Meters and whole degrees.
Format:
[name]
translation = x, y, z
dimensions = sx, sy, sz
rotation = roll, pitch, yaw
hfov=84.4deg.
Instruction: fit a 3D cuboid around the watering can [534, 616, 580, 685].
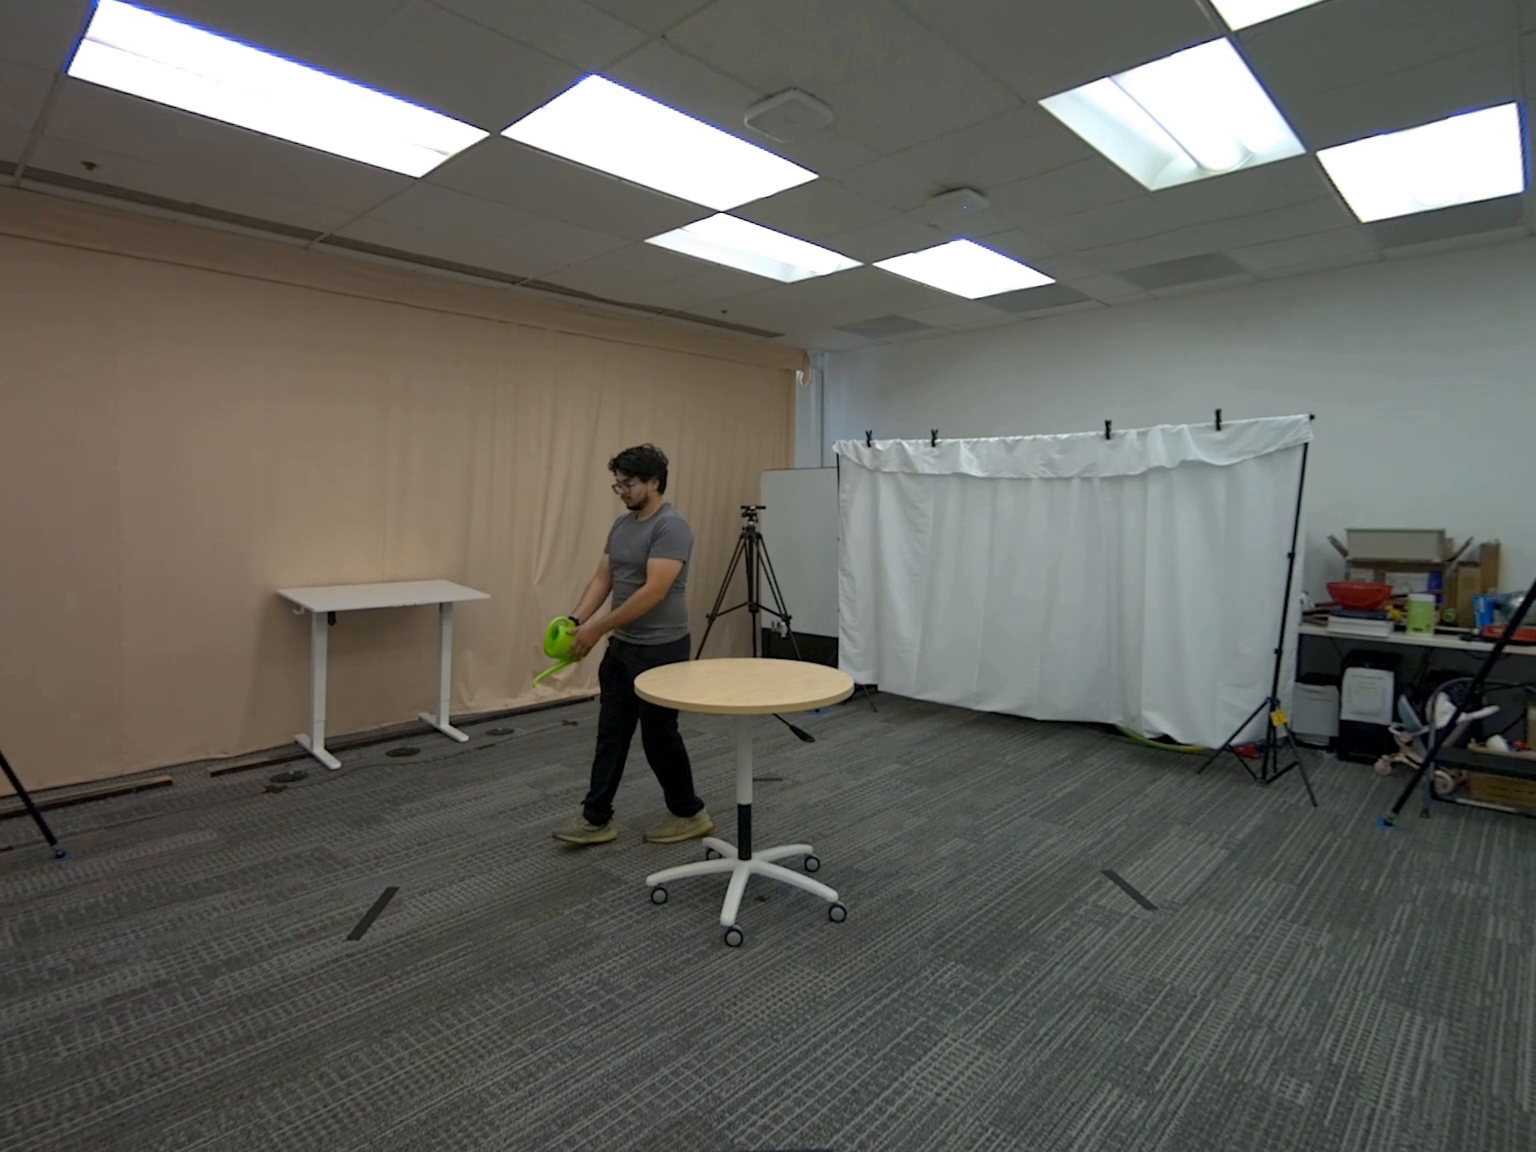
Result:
[watering can]
translation = -0.811, 0.291, 3.264
dimensions = 0.170, 0.278, 0.102
rotation = 21, 8, -43
